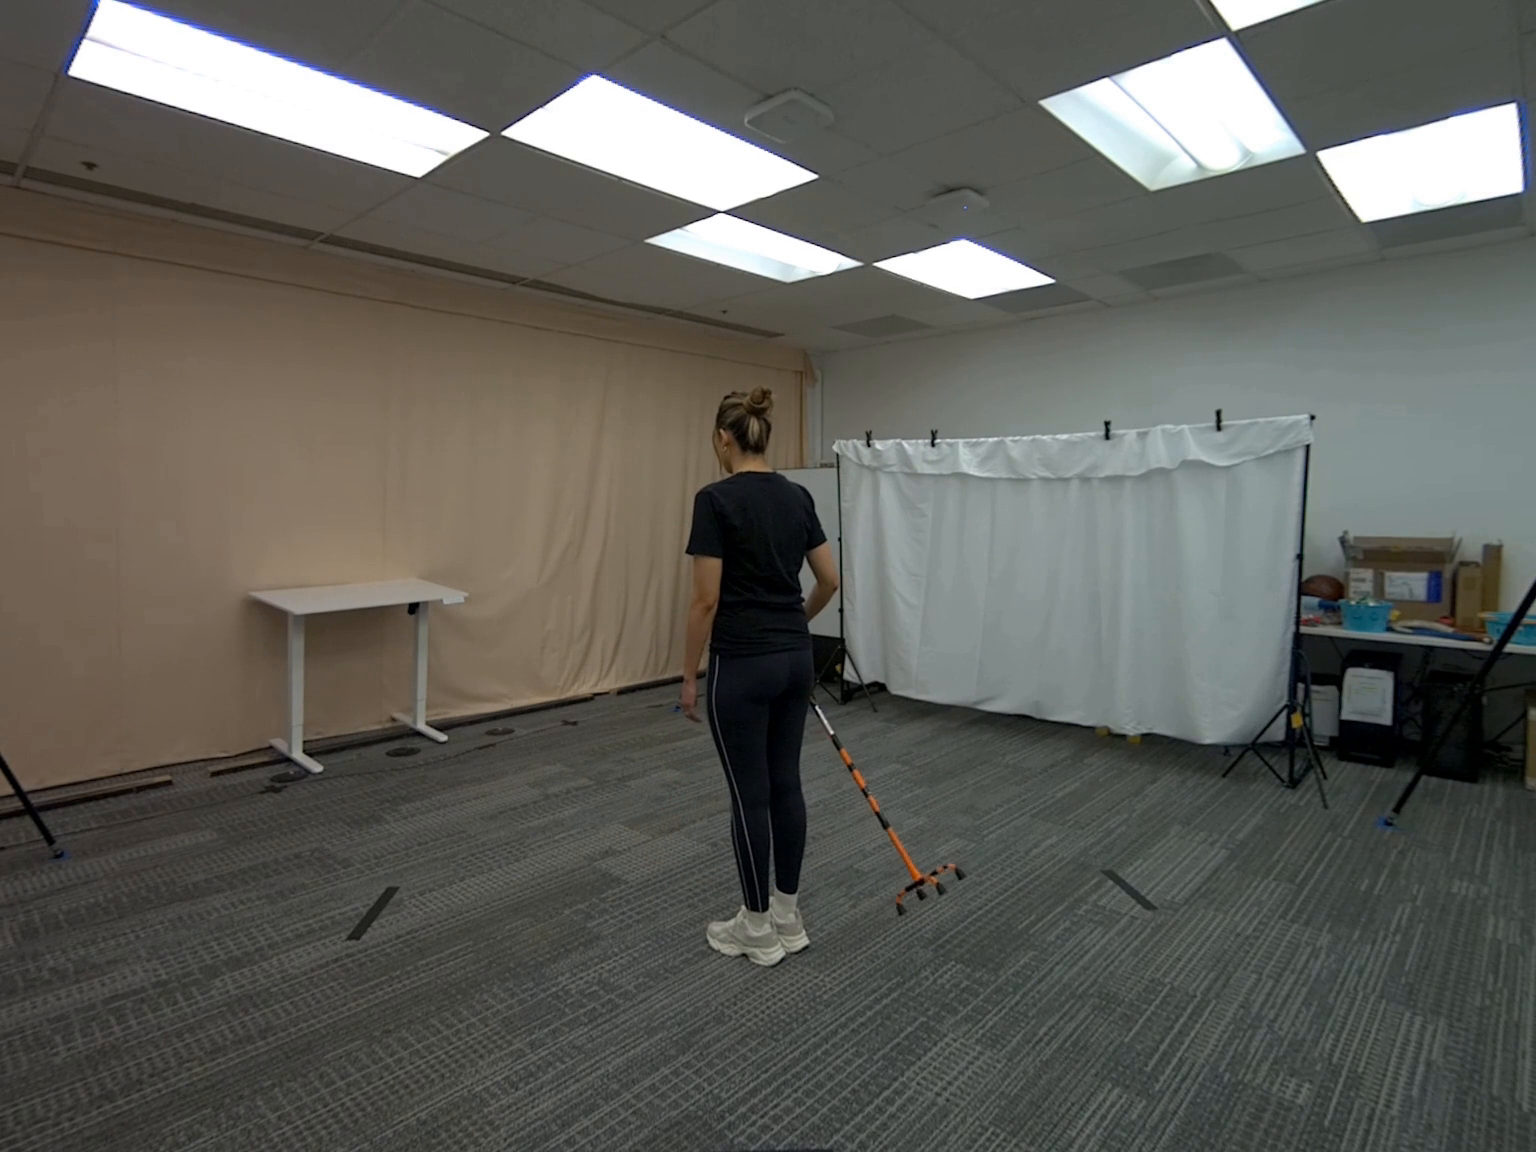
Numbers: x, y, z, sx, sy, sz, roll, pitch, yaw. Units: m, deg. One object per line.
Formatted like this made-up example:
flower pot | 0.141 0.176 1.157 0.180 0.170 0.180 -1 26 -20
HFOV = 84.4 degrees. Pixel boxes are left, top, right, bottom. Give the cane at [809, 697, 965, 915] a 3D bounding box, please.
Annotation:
cane | 0.279 0.638 2.780 0.147 0.927 0.208 -8 -30 -47
